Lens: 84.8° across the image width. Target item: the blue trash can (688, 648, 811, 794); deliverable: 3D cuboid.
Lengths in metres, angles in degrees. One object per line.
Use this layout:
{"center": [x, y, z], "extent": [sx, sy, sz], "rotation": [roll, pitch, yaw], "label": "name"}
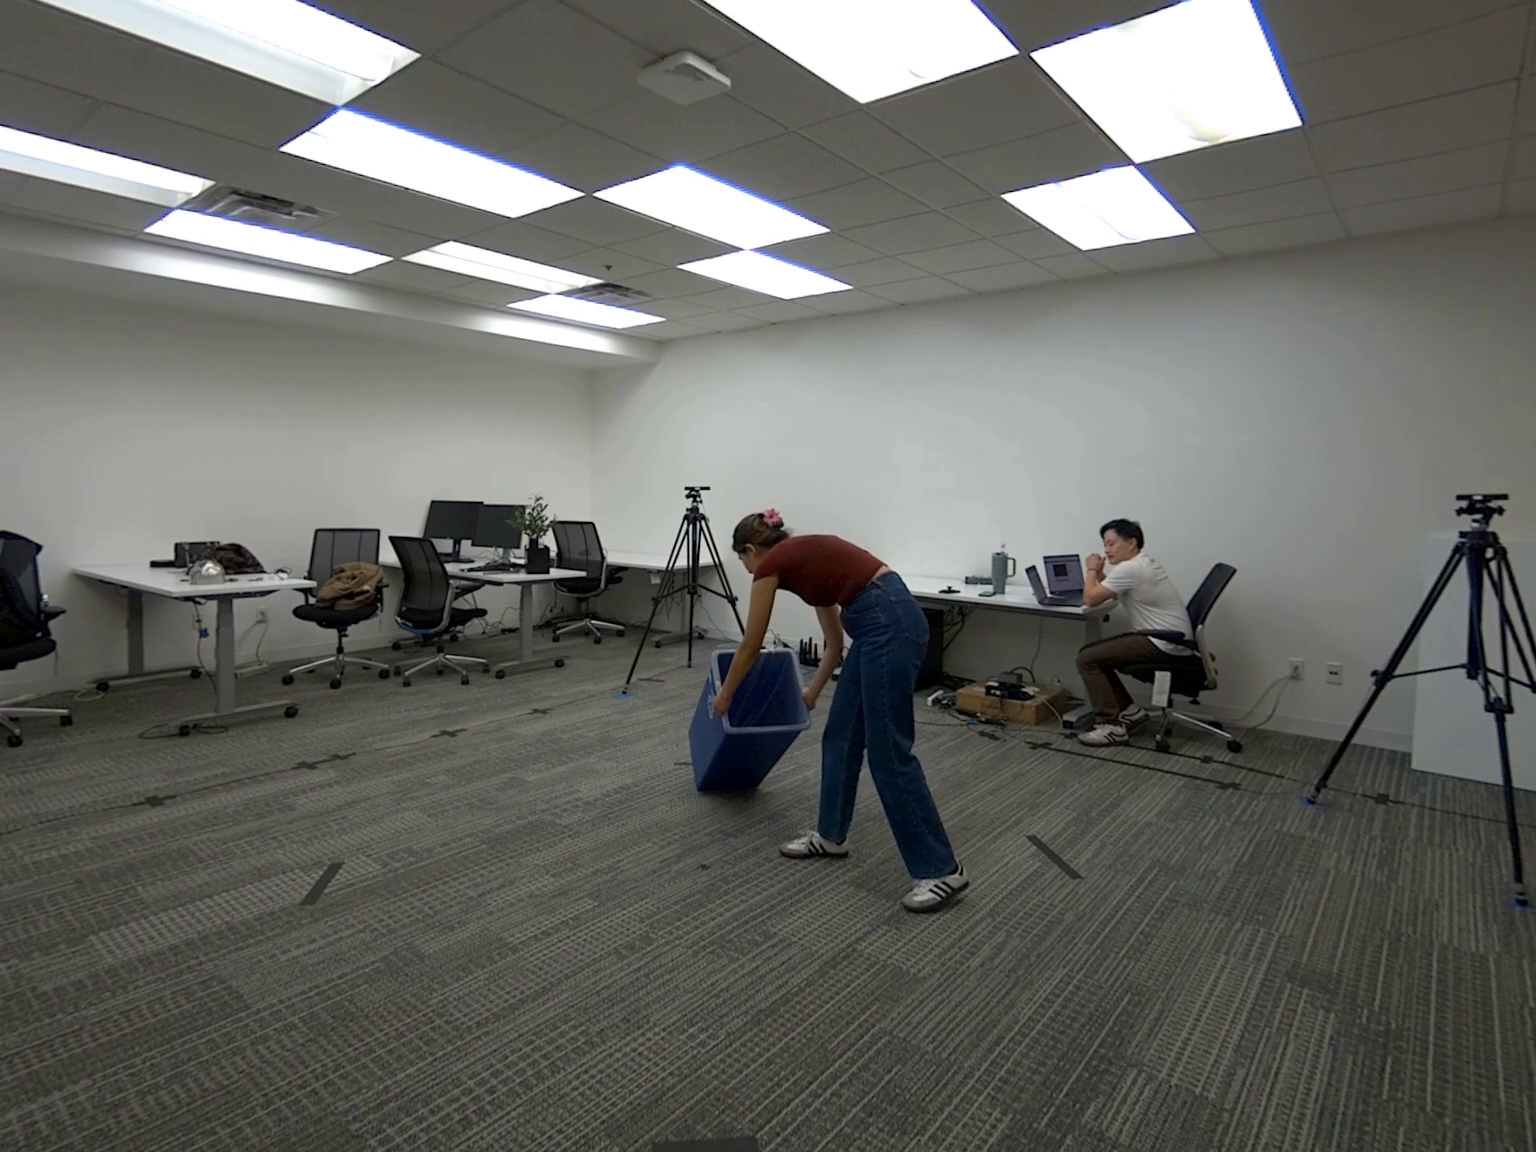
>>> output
{"center": [-0.135, 0.661, 3.728], "extent": [0.371, 0.387, 0.702], "rotation": [1, -38, -18], "label": "blue trash can"}
